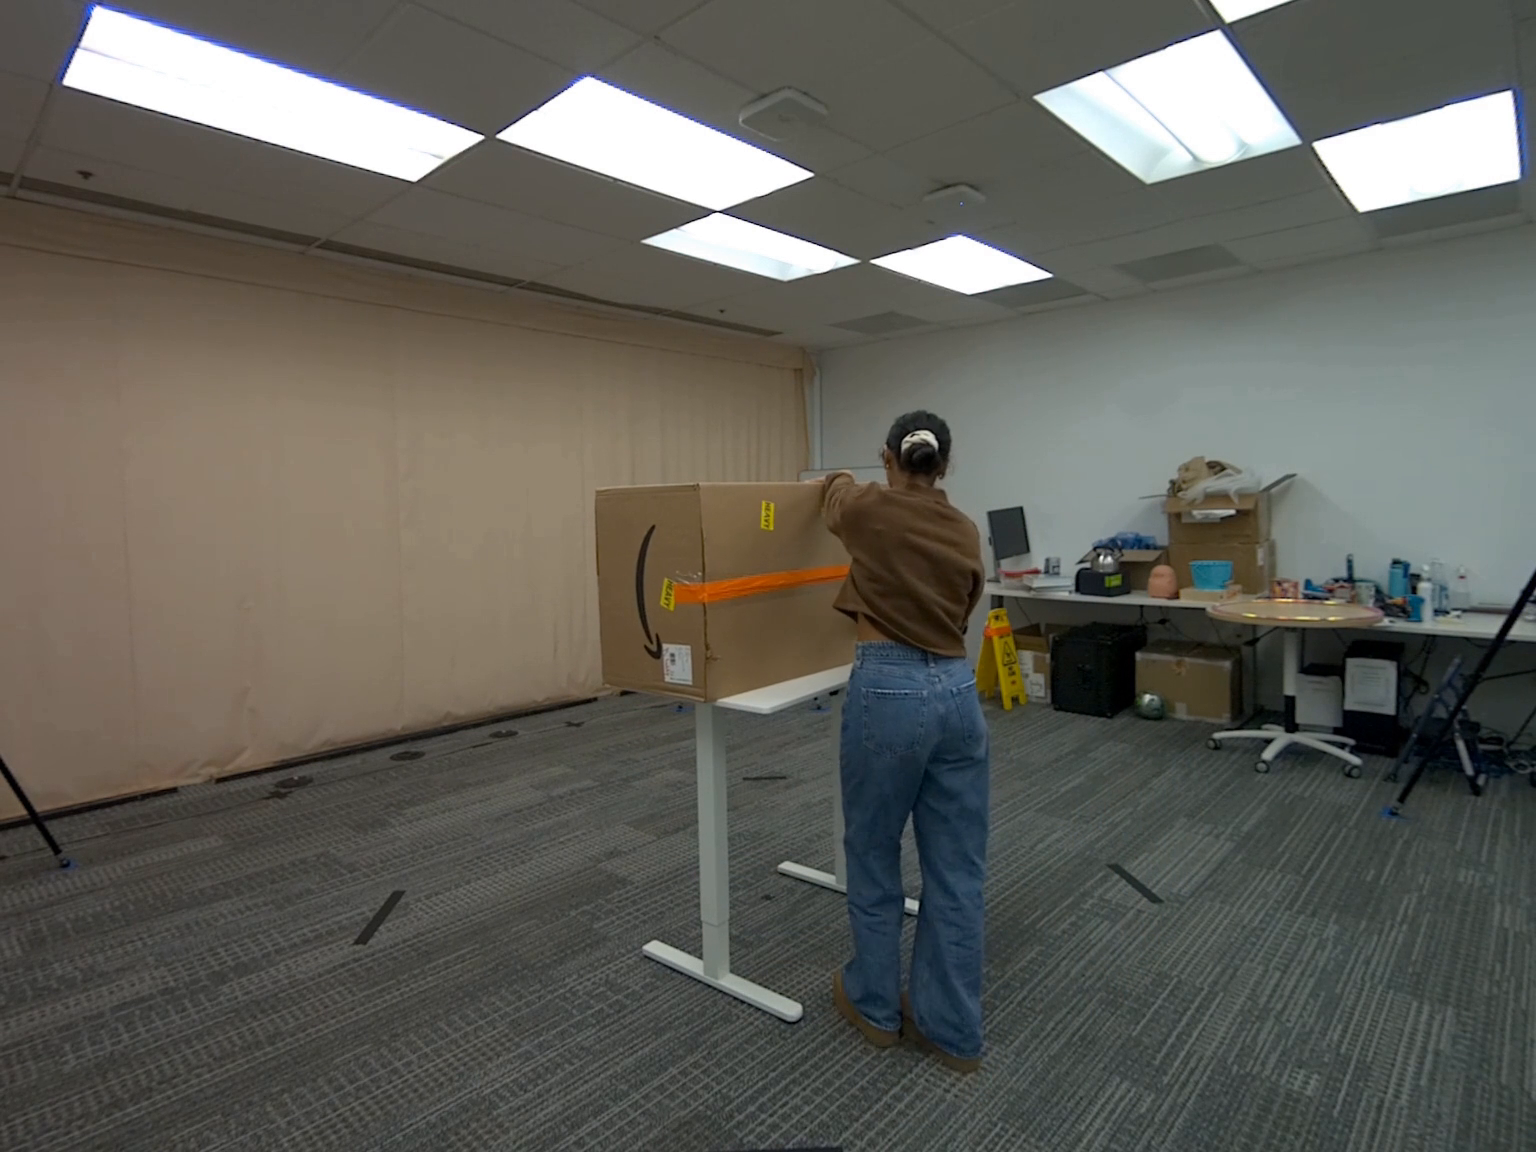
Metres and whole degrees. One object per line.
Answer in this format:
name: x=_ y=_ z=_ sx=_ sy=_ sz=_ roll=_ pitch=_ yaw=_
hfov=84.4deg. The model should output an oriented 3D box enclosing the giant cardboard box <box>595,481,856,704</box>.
giant cardboard box: x=-0.004 y=0.003 z=2.678 sx=0.440 sy=0.576 sz=0.995 roll=1 pitch=5 yaw=41
